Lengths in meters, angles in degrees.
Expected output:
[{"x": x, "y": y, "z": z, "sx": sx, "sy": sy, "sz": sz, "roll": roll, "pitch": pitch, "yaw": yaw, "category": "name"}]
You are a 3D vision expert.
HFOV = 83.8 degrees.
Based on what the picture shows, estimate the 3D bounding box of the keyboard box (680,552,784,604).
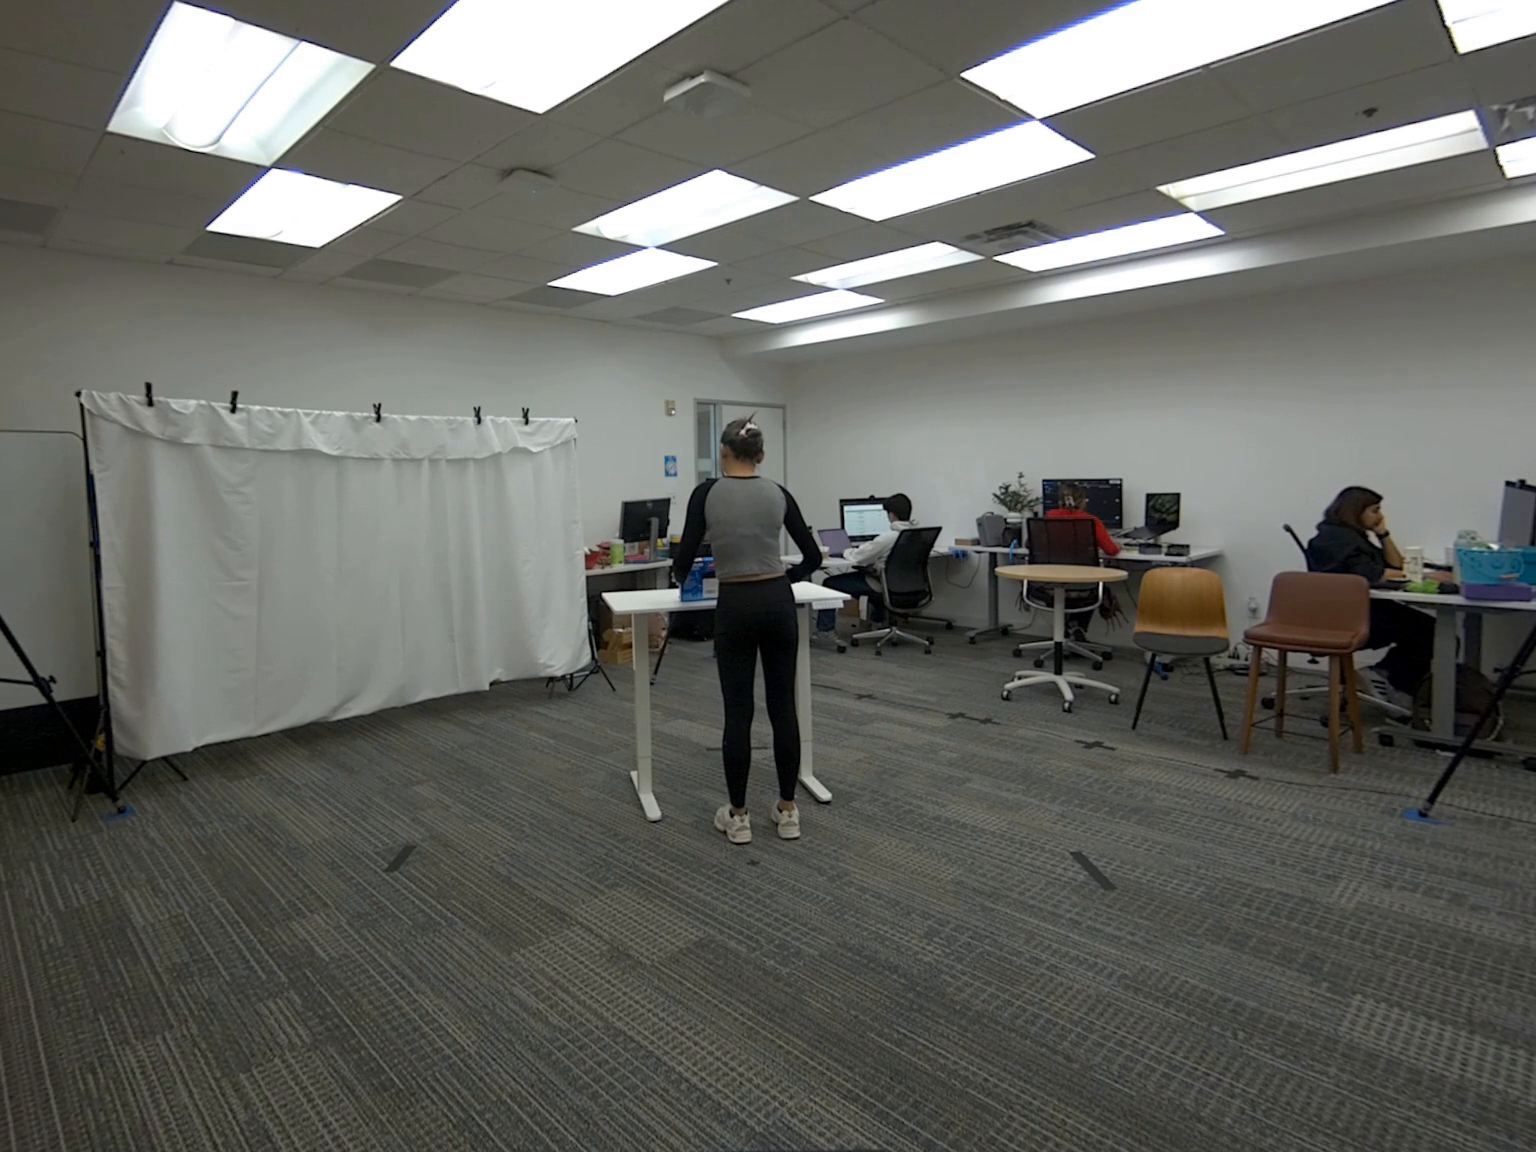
[{"x": -0.156, "y": 0.003, "z": 3.657, "sx": 0.433, "sy": 0.174, "sz": 0.060, "roll": -5, "pitch": 10, "yaw": -11, "category": "keyboard box"}]
